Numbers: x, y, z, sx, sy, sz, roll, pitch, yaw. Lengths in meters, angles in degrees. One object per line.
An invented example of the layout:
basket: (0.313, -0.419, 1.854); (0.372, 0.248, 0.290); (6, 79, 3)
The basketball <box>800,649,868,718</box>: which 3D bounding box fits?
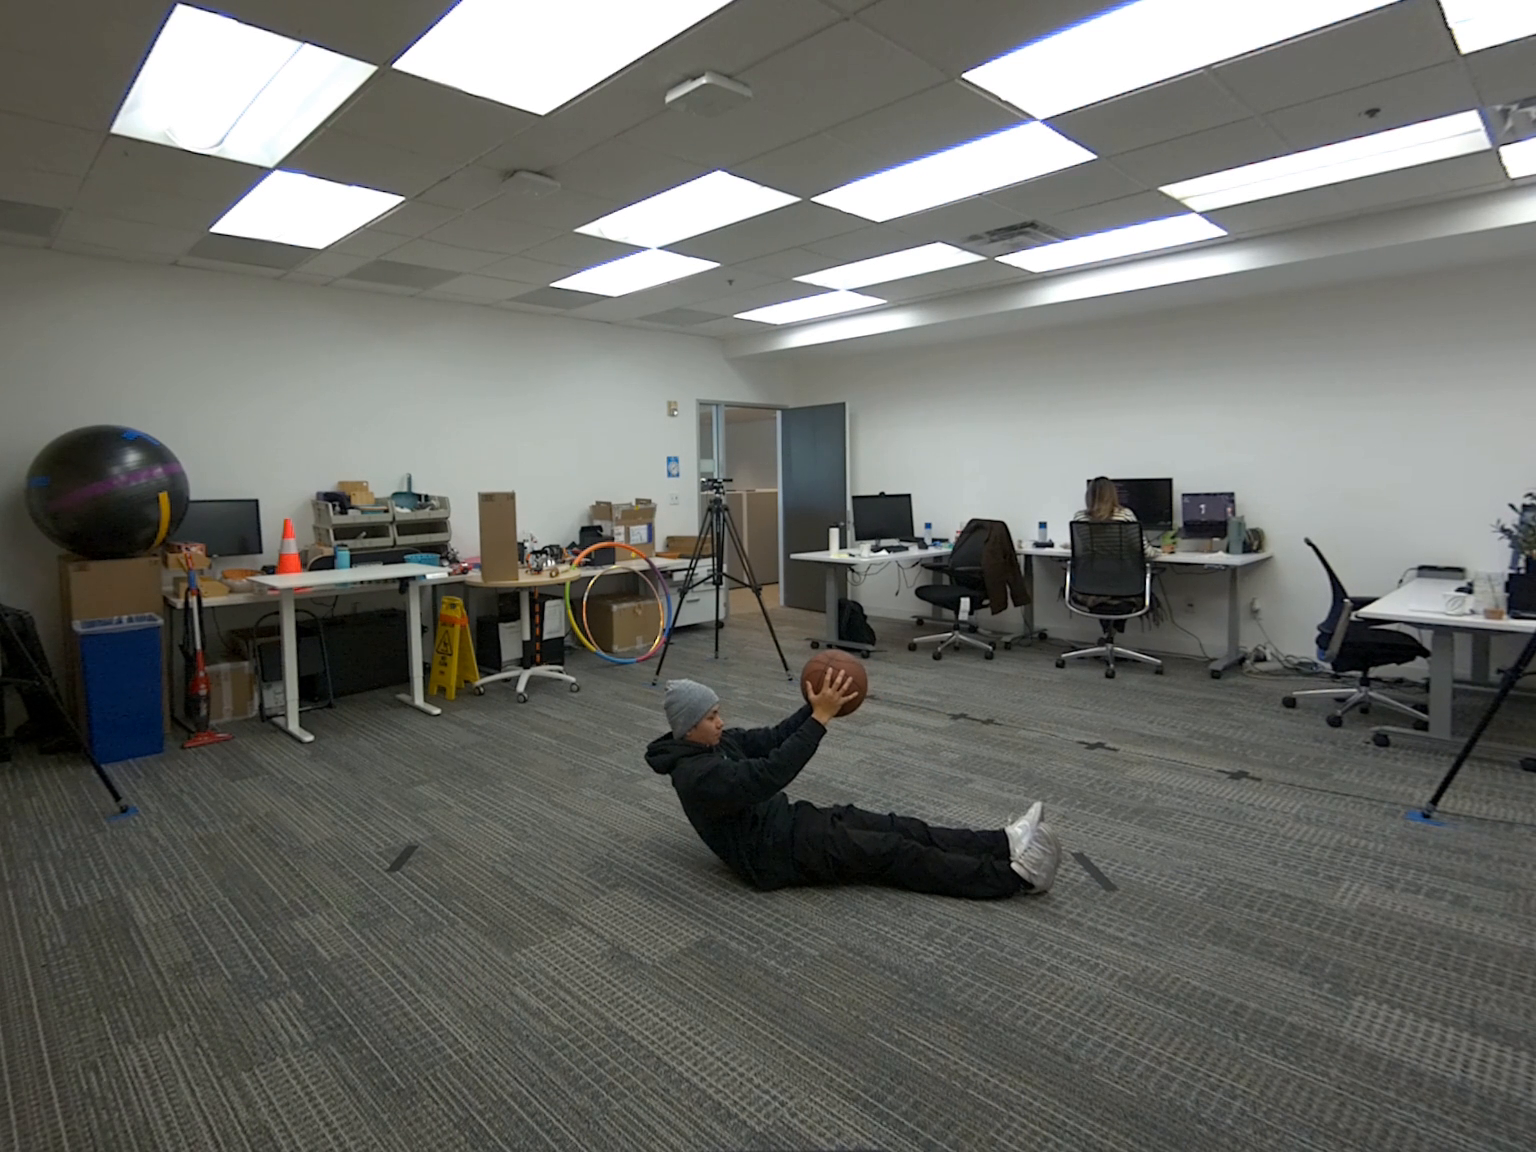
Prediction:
basketball: (0.237, 0.383, 3.035); (0.236, 0.235, 0.237); (-1, 5, -2)
